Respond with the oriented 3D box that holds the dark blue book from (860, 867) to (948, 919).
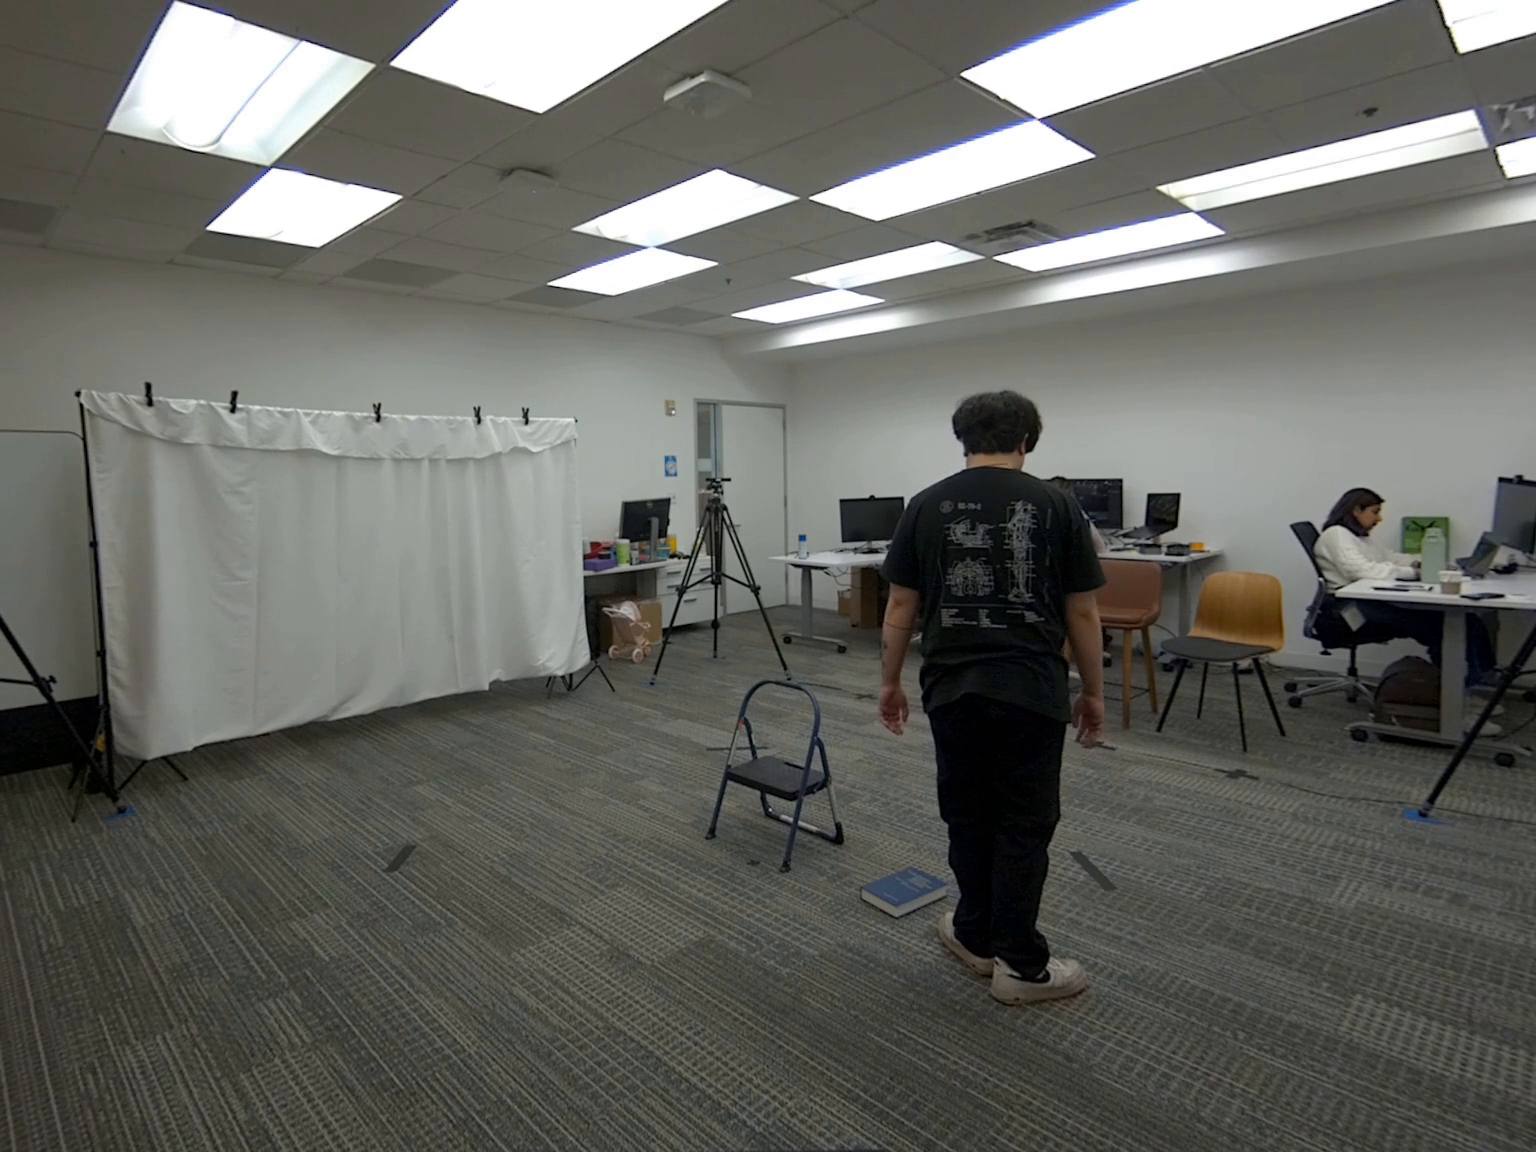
[{"bbox_3d":[0.459,1.048,2.820,0.239,0.045,0.168,-6,8,-36],"label":"dark blue book"}]
